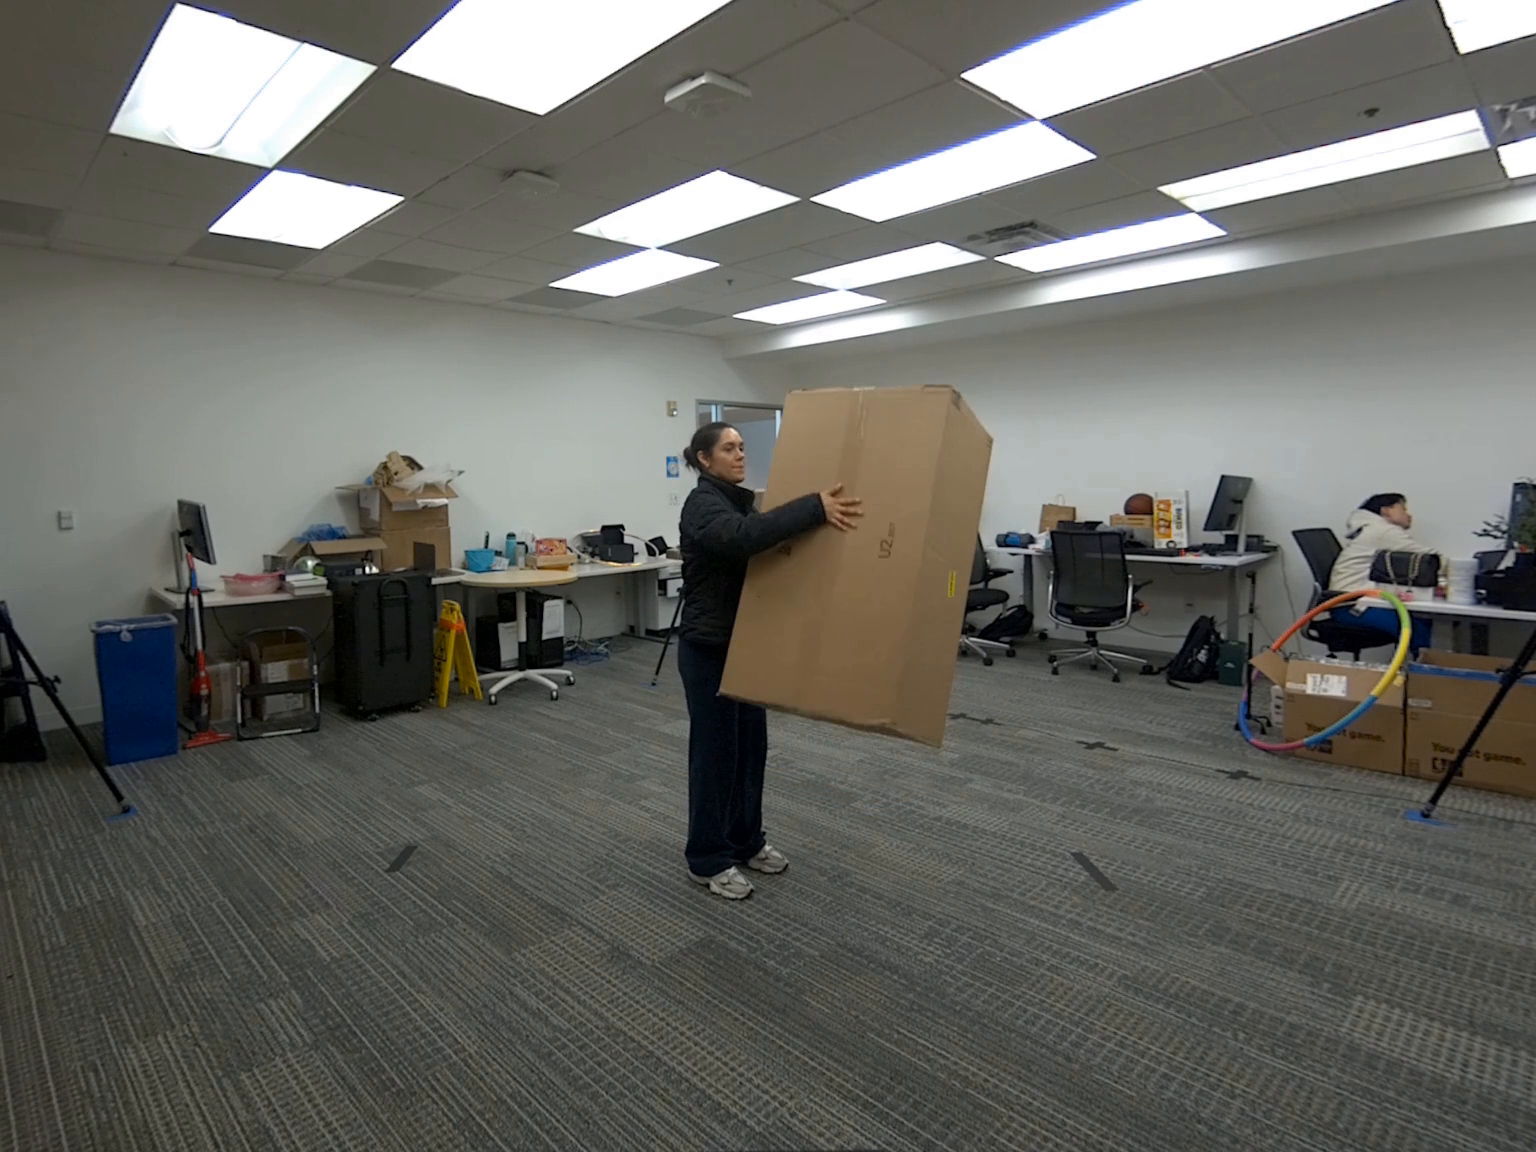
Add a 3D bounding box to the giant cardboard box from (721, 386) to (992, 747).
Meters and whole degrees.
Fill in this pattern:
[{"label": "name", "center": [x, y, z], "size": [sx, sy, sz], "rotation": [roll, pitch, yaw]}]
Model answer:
[{"label": "giant cardboard box", "center": [0.299, -0.052, 2.745], "size": [0.594, 1.034, 0.410], "rotation": [4, -15, 34]}]
